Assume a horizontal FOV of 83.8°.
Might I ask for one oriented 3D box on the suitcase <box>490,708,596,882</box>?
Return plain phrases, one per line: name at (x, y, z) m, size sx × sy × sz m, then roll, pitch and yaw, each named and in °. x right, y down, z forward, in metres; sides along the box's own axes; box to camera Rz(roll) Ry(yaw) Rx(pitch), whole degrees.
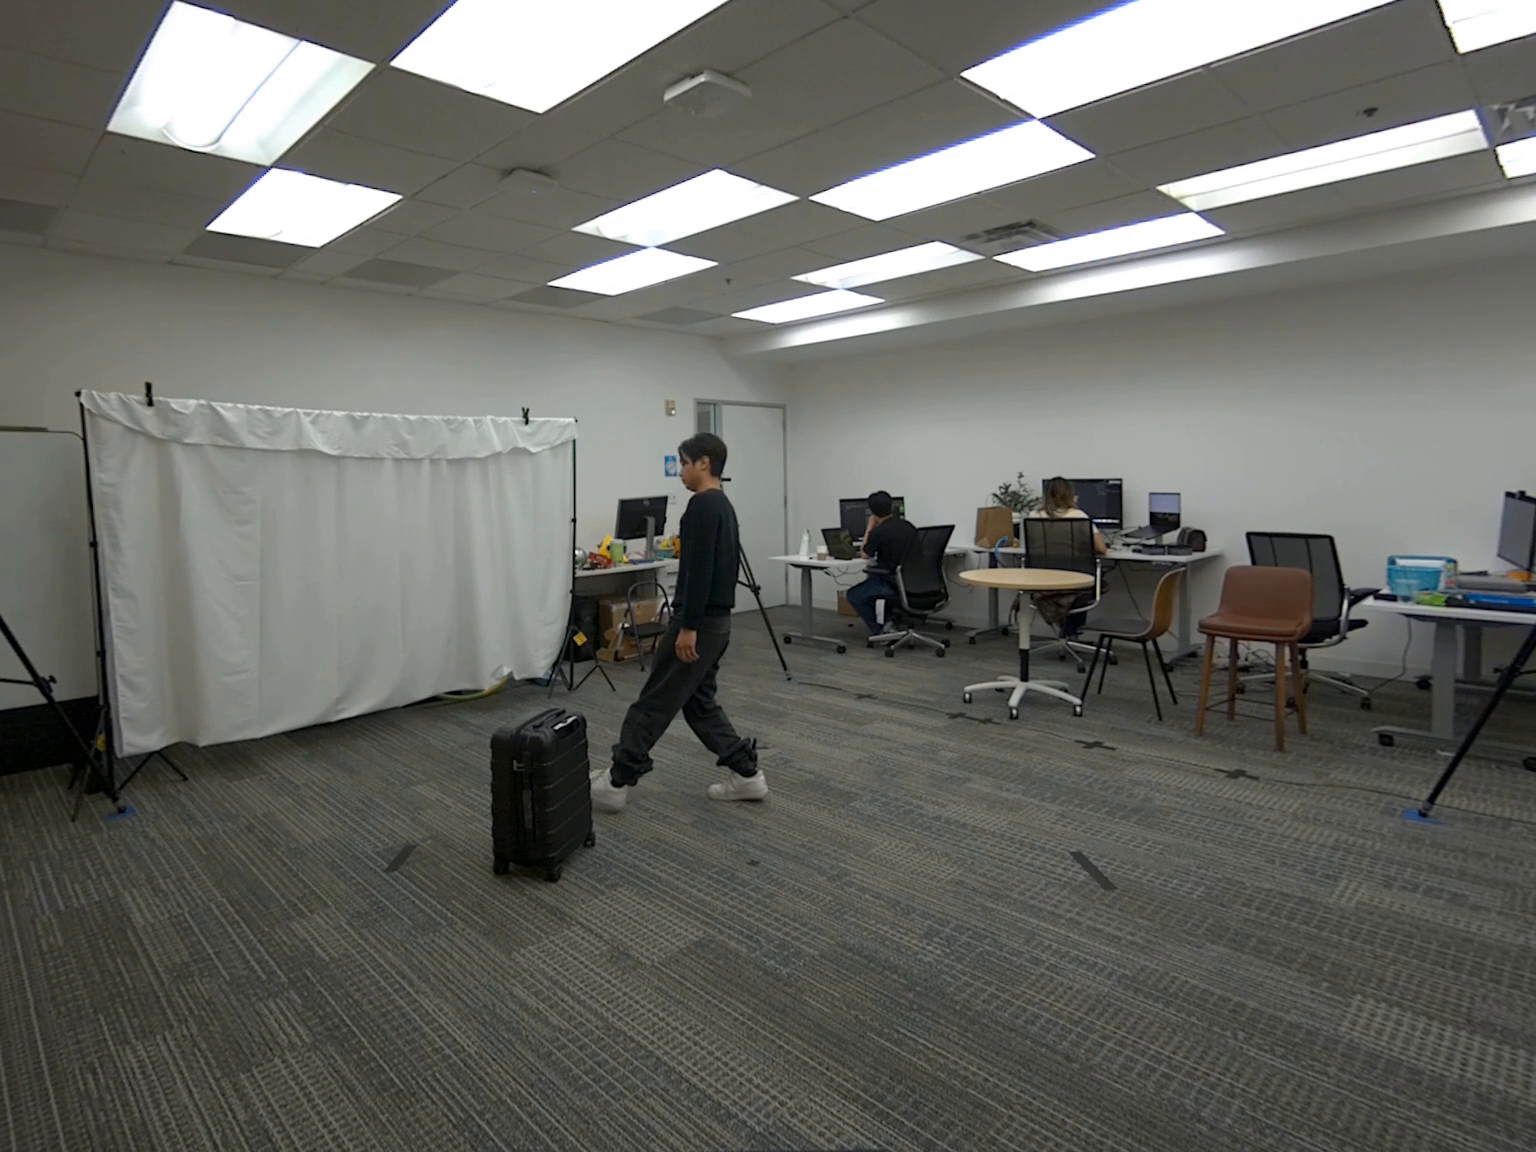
suitcase at (-0.831, 0.779, 3.136) m, size 0.252 × 0.546 × 0.371 m, roll 0°, pitch 6°, yaw 16°
